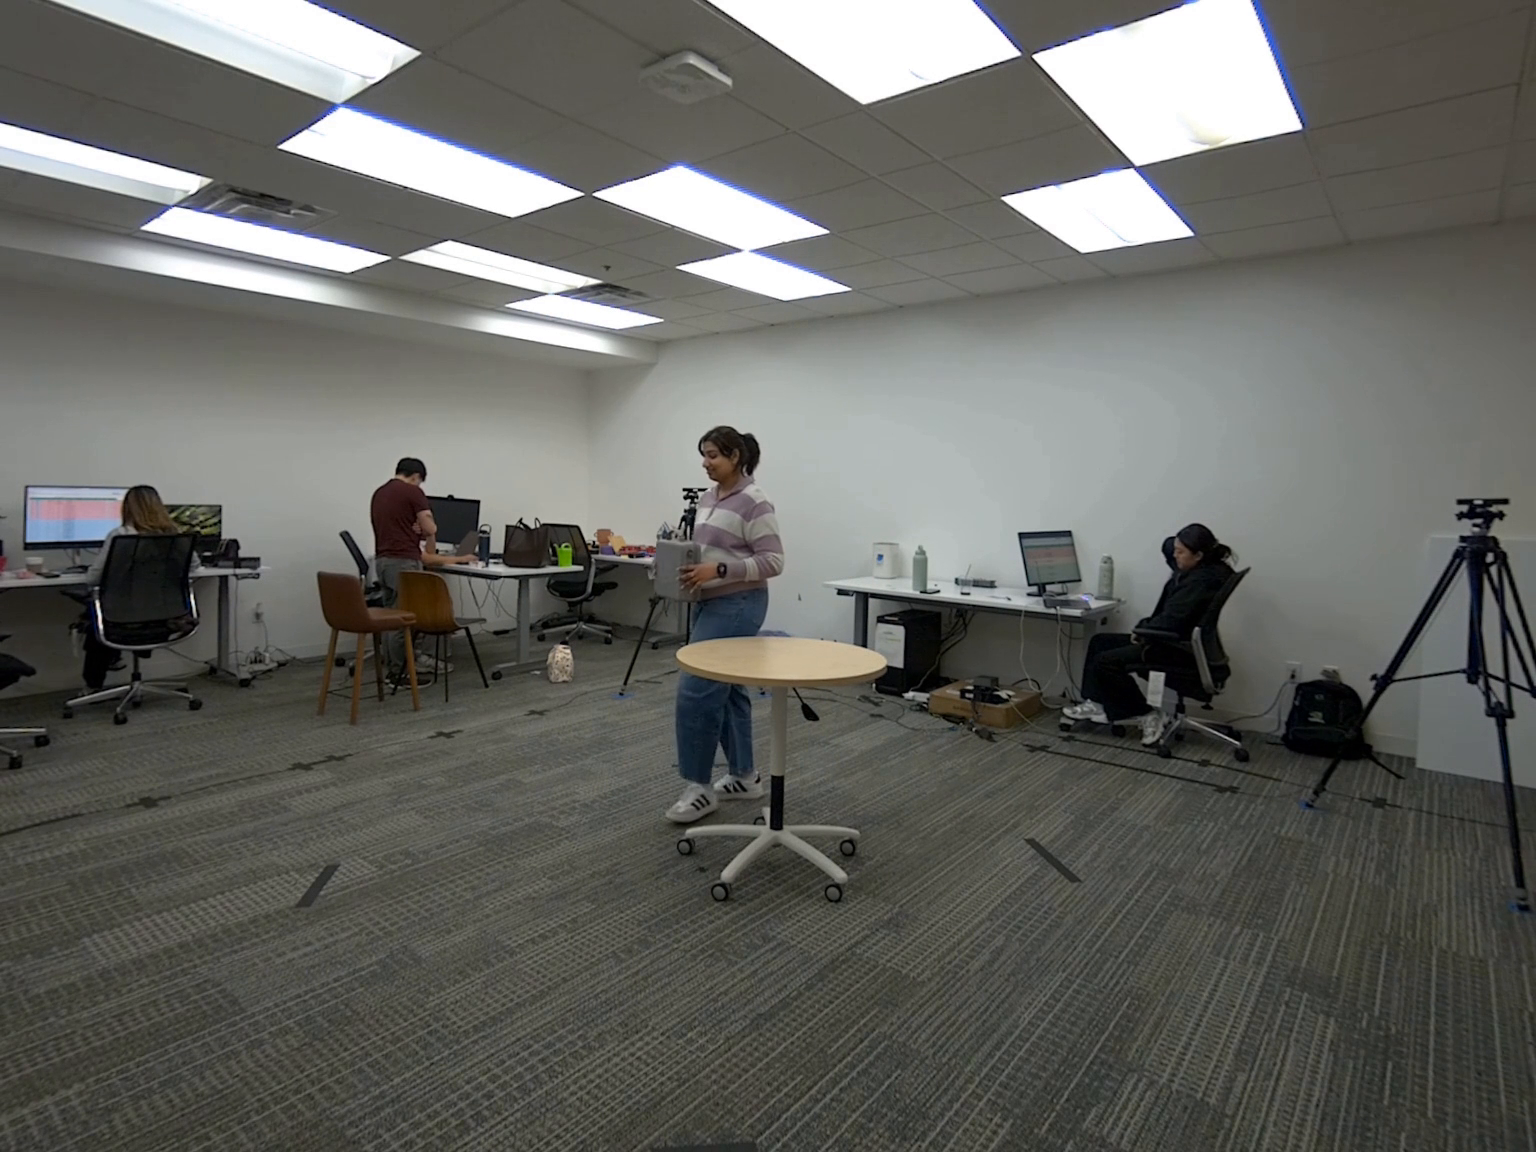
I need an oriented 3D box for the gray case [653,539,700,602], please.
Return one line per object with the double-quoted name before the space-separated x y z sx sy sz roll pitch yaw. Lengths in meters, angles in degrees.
"gray case" -0.392 -0.036 3.626 0.101 0.260 0.265 -4 5 -35
